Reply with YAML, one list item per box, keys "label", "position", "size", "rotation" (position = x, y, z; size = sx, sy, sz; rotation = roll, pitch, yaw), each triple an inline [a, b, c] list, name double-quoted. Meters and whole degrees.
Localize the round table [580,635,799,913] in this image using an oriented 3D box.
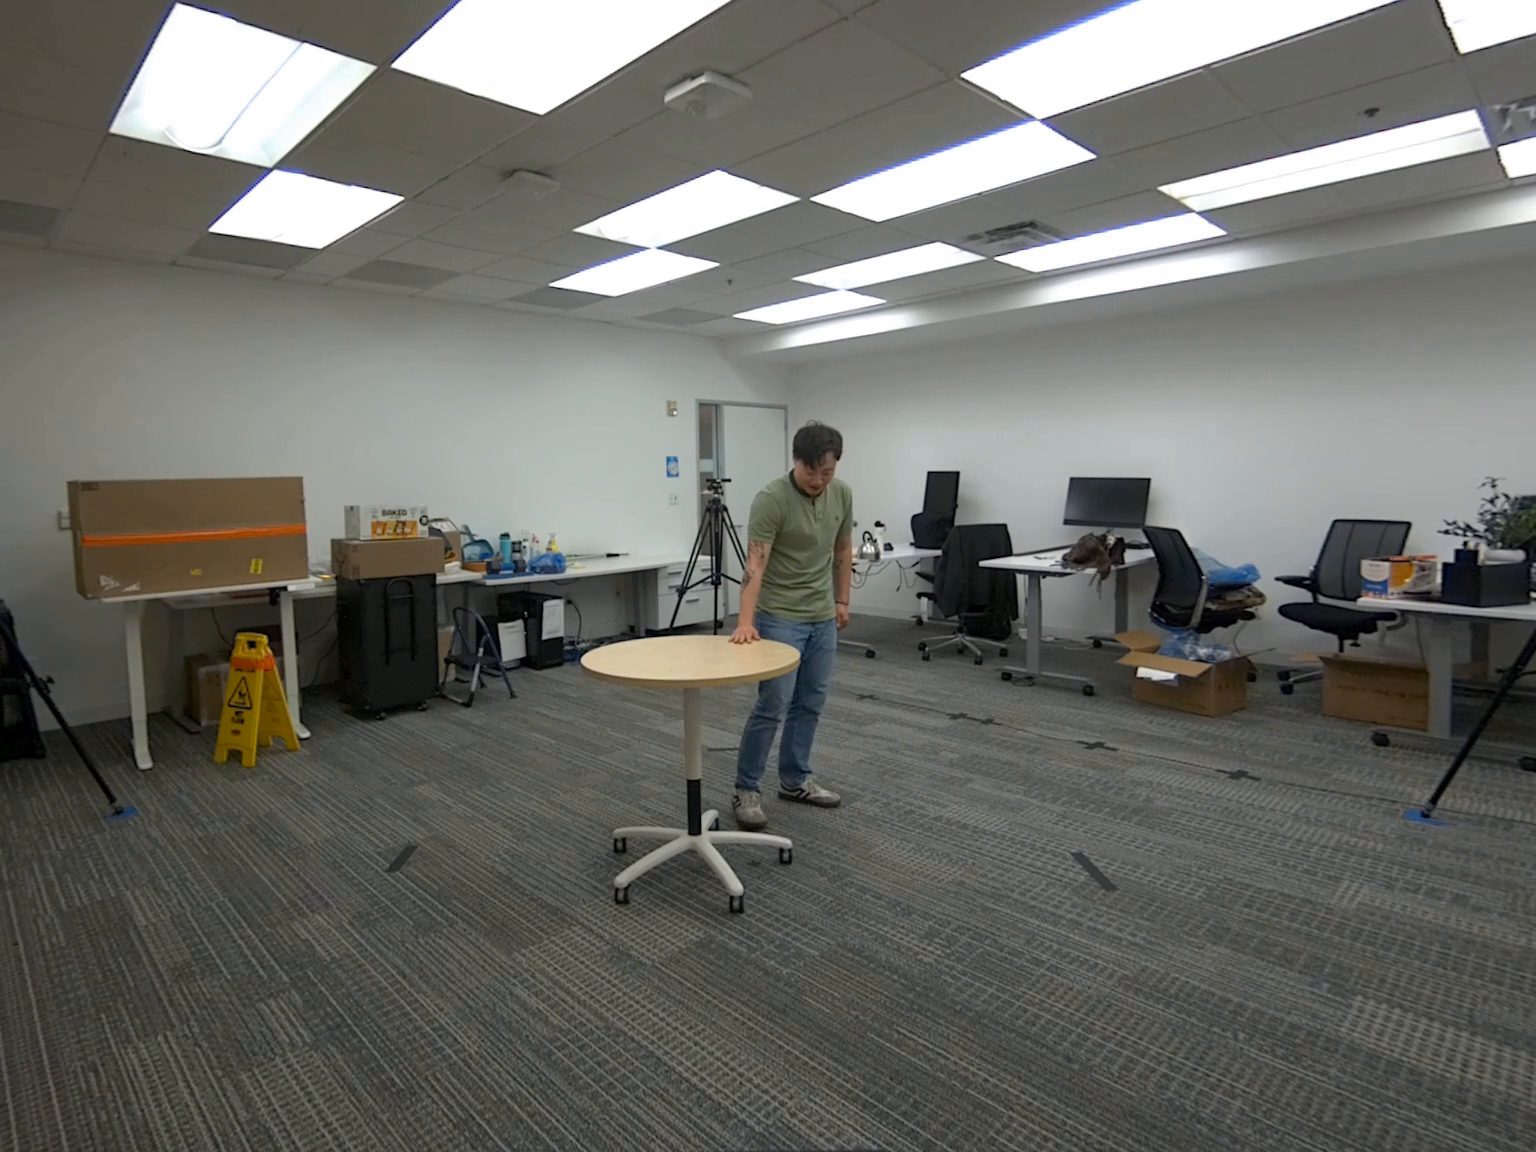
- label: "round table"
  position: [-0.263, 0.670, 3.021]
  size: [0.763, 0.791, 0.768]
  rotation: [-1, 5, -2]
